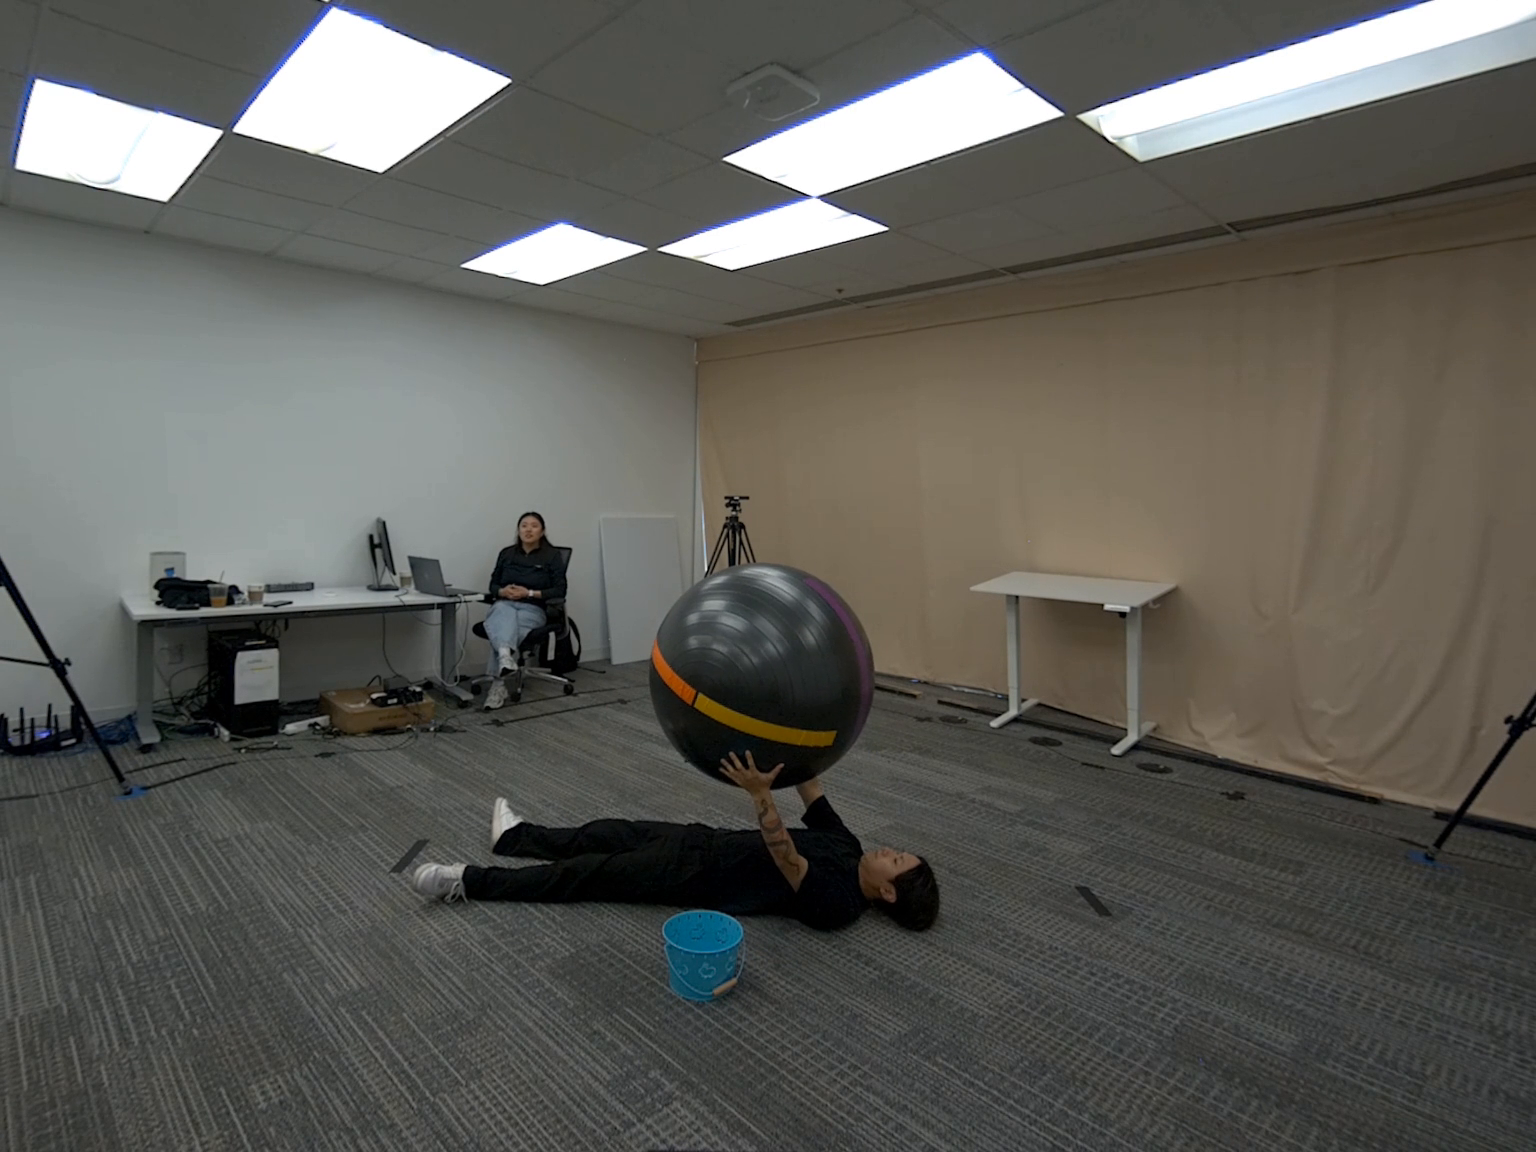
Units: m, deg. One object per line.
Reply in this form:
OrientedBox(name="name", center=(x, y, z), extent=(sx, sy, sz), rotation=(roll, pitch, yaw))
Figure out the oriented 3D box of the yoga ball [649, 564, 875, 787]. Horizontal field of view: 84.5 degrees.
OrientedBox(name="yoga ball", center=(-0.019, 0.341, 2.859), extent=(0.757, 0.756, 0.761), rotation=(1, 4, -1))
